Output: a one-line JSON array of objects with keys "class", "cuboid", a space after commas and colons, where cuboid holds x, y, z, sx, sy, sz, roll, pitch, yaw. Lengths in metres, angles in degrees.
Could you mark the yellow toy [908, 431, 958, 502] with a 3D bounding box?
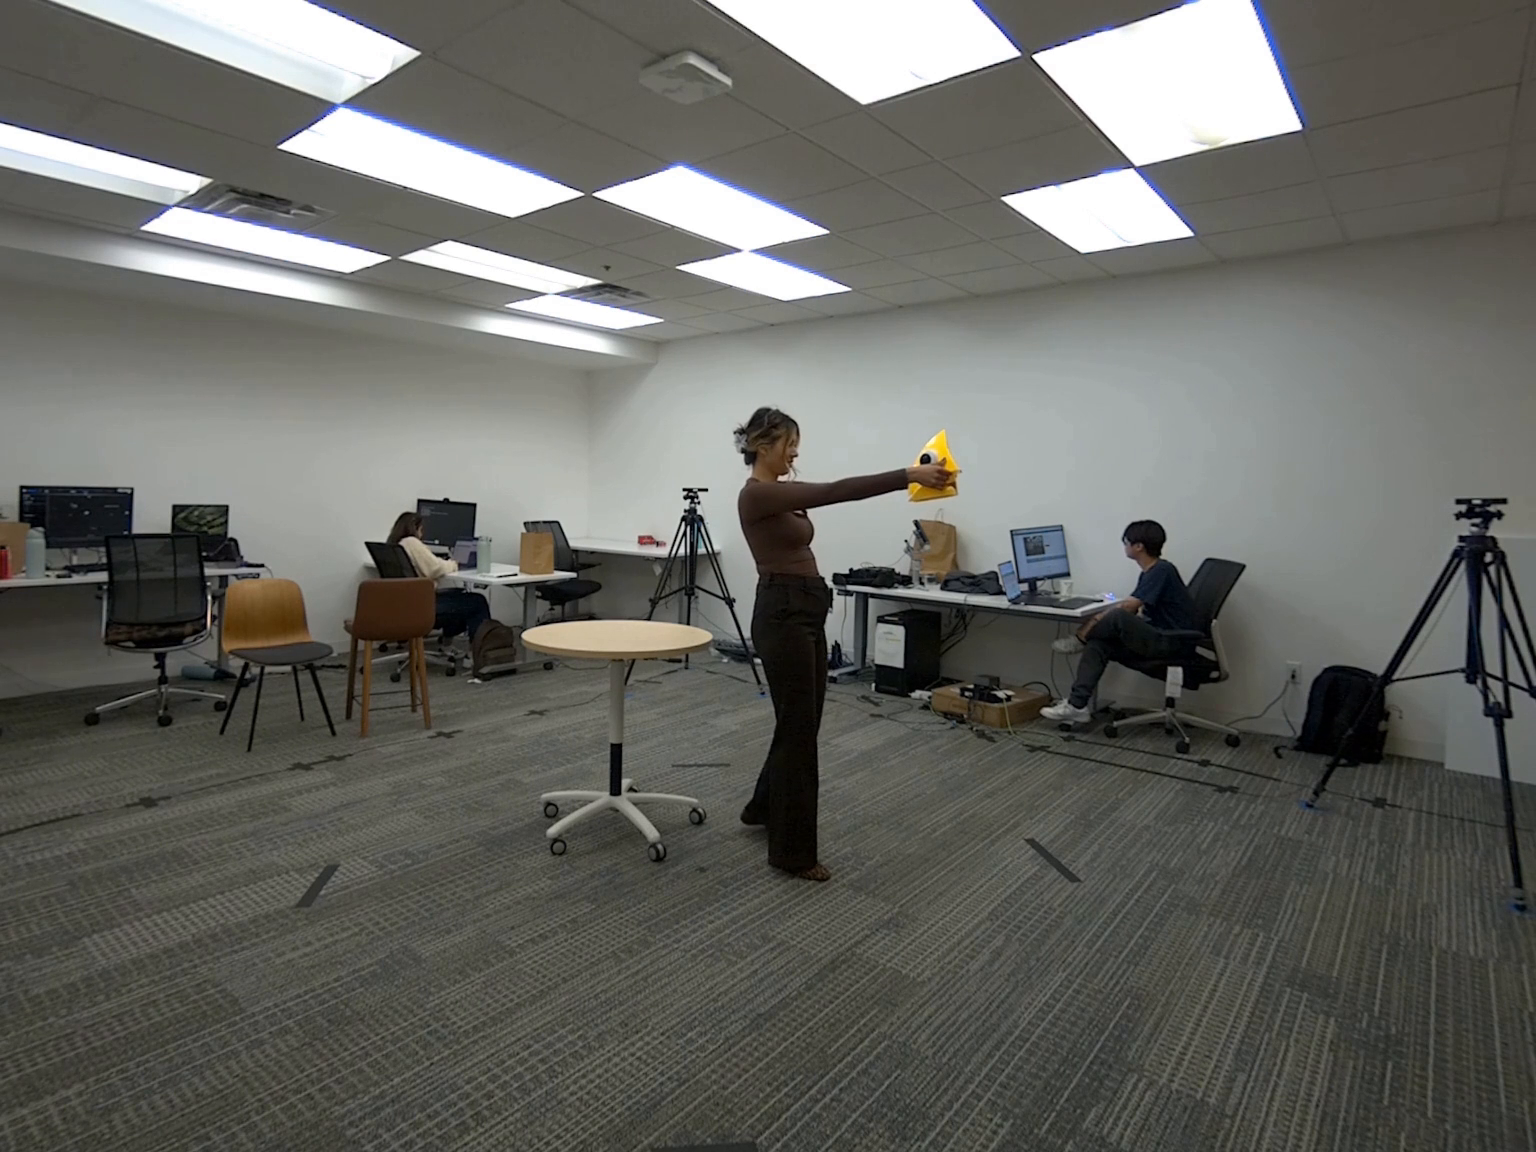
[{"class": "yellow toy", "cuboid": [0.568, -0.392, 2.975, 0.196, 0.231, 0.201, -8, 0, 18]}]
